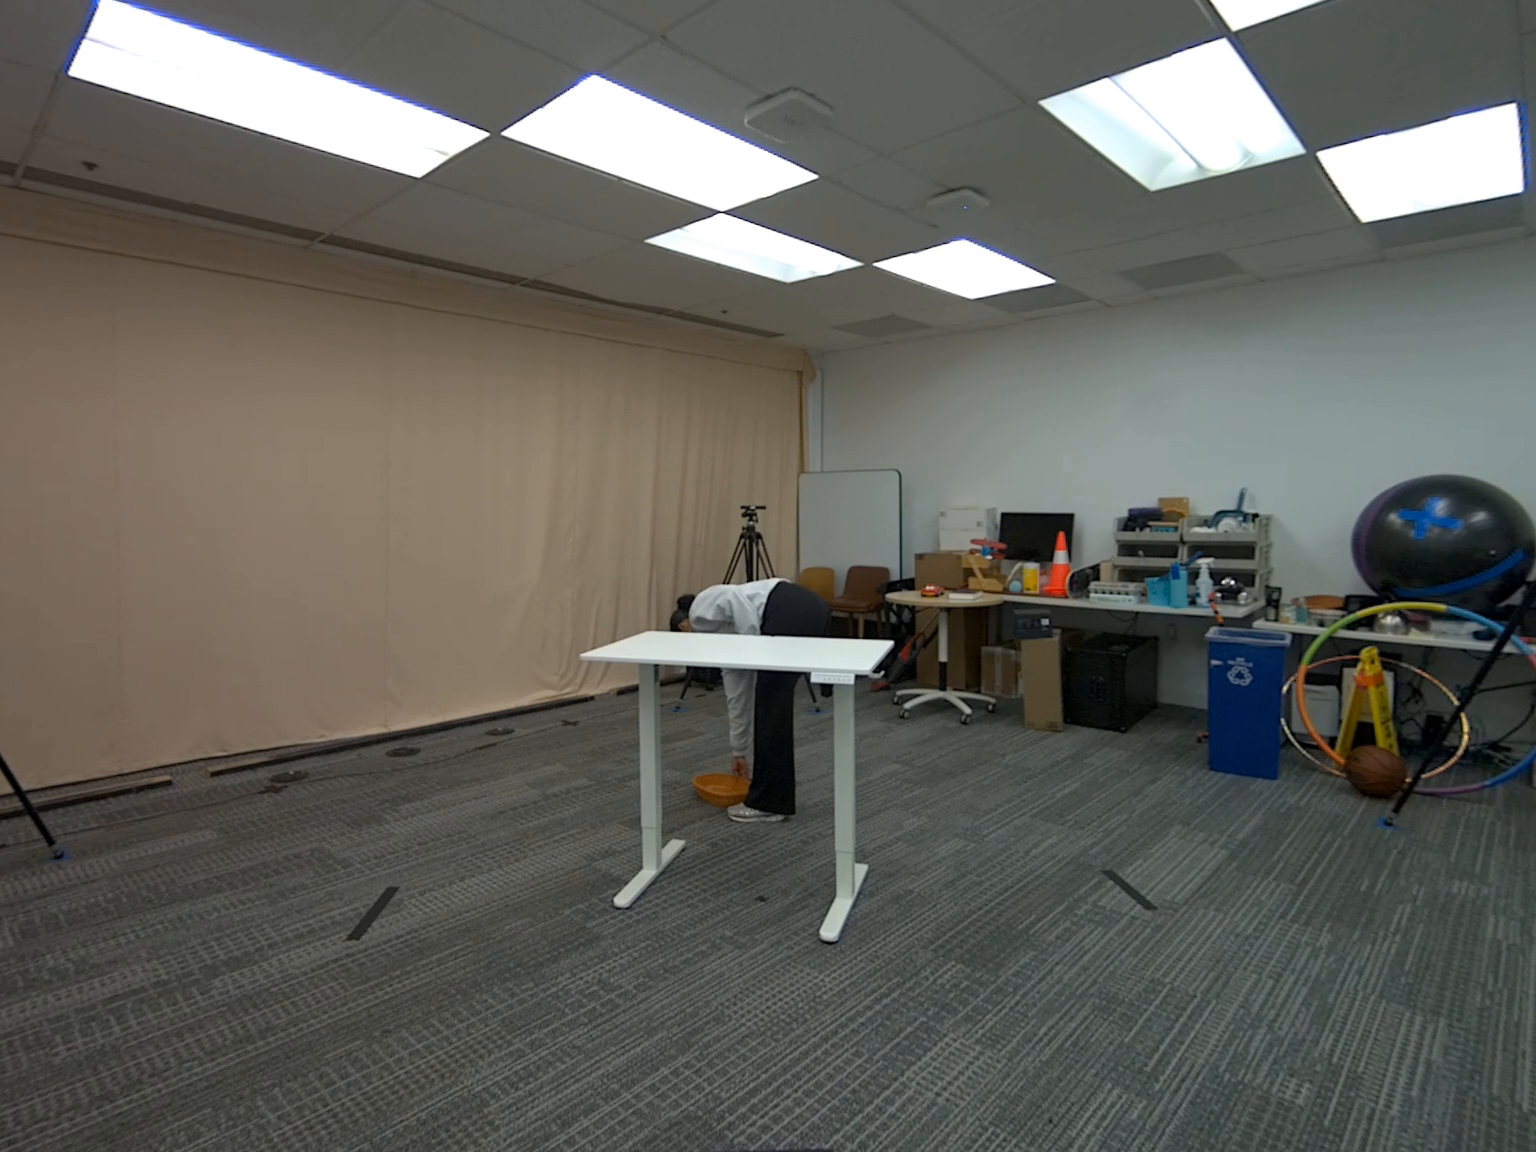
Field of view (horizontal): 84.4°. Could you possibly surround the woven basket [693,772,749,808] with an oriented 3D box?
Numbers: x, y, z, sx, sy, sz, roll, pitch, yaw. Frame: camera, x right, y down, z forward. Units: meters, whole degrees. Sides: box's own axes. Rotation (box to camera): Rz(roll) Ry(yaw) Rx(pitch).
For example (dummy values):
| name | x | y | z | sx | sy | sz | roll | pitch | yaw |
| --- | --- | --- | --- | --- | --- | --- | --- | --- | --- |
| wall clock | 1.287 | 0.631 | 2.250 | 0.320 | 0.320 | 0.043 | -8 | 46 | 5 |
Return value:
| name | x | y | z | sx | sy | sz | roll | pitch | yaw |
| --- | --- | --- | --- | --- | --- | --- | --- | --- | --- |
| woven basket | -0.218 | 1.014 | 4.032 | 0.246 | 0.073 | 0.360 | -3 | 5 | -28 |
